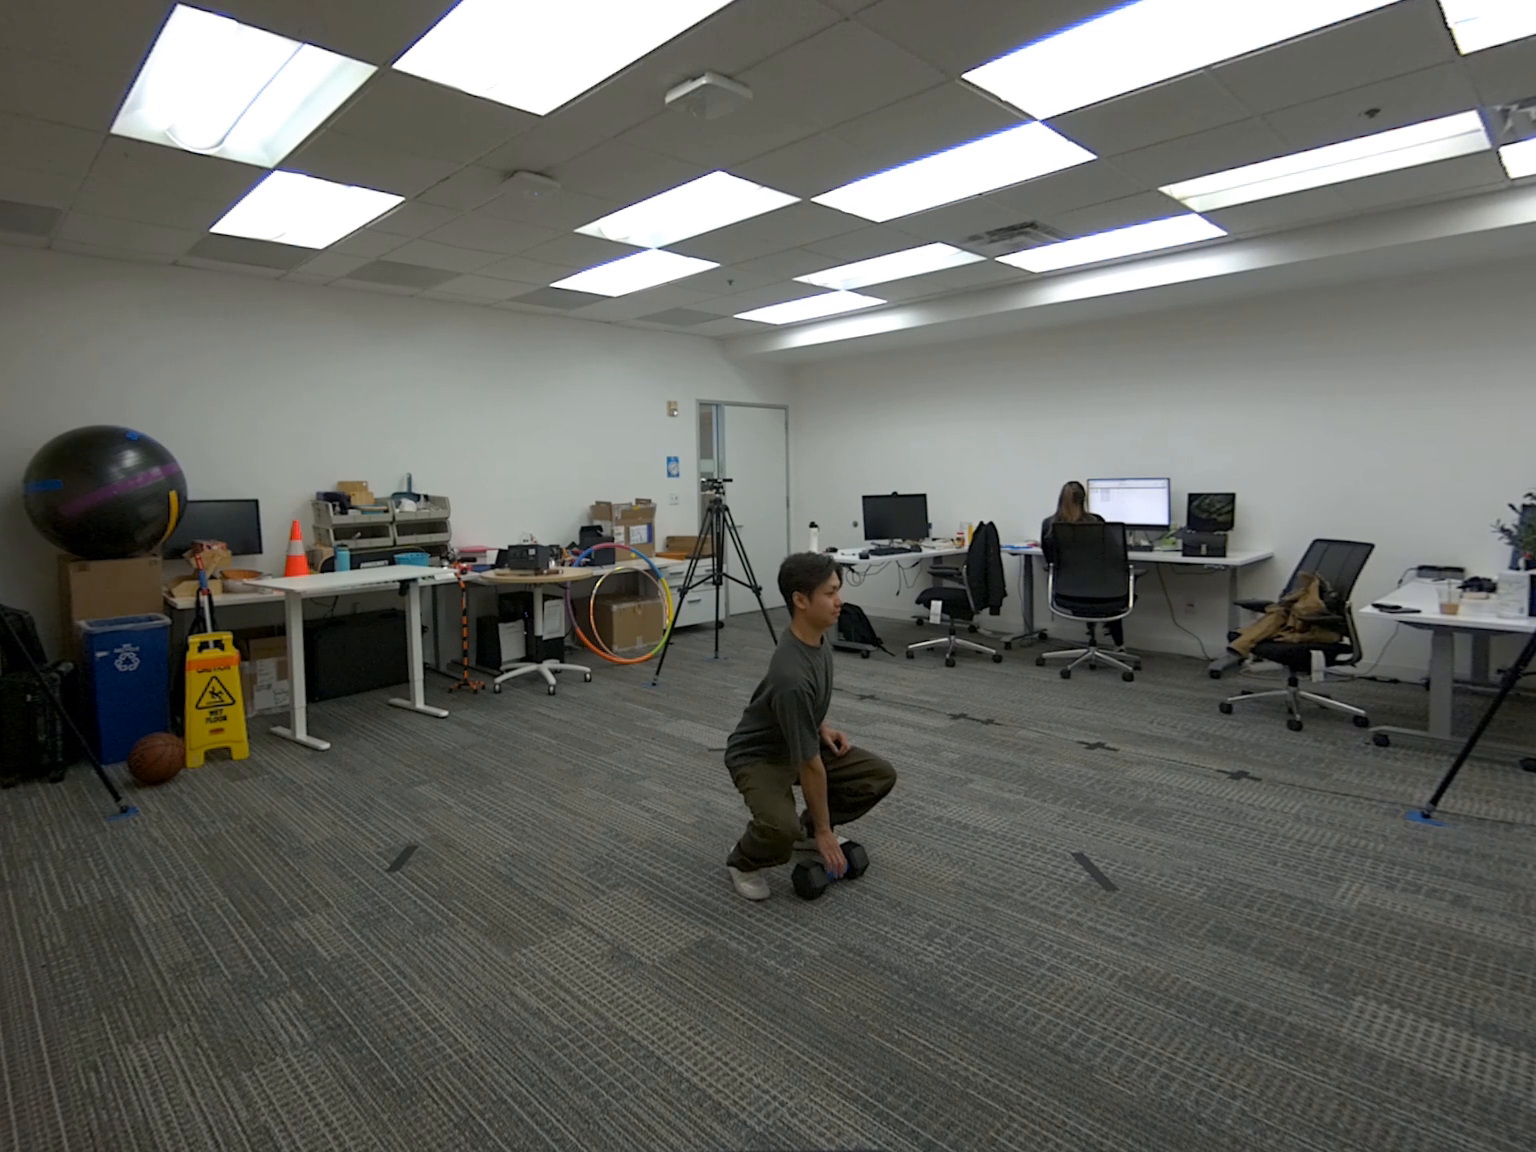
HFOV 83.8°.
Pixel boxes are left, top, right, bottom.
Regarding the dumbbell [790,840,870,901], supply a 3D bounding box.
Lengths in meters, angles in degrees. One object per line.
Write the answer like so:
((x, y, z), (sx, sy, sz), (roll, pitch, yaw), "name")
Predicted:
((0.212, 1.002, 2.930), (0.286, 0.121, 0.113), (-5, 36, -42), "dumbbell")
